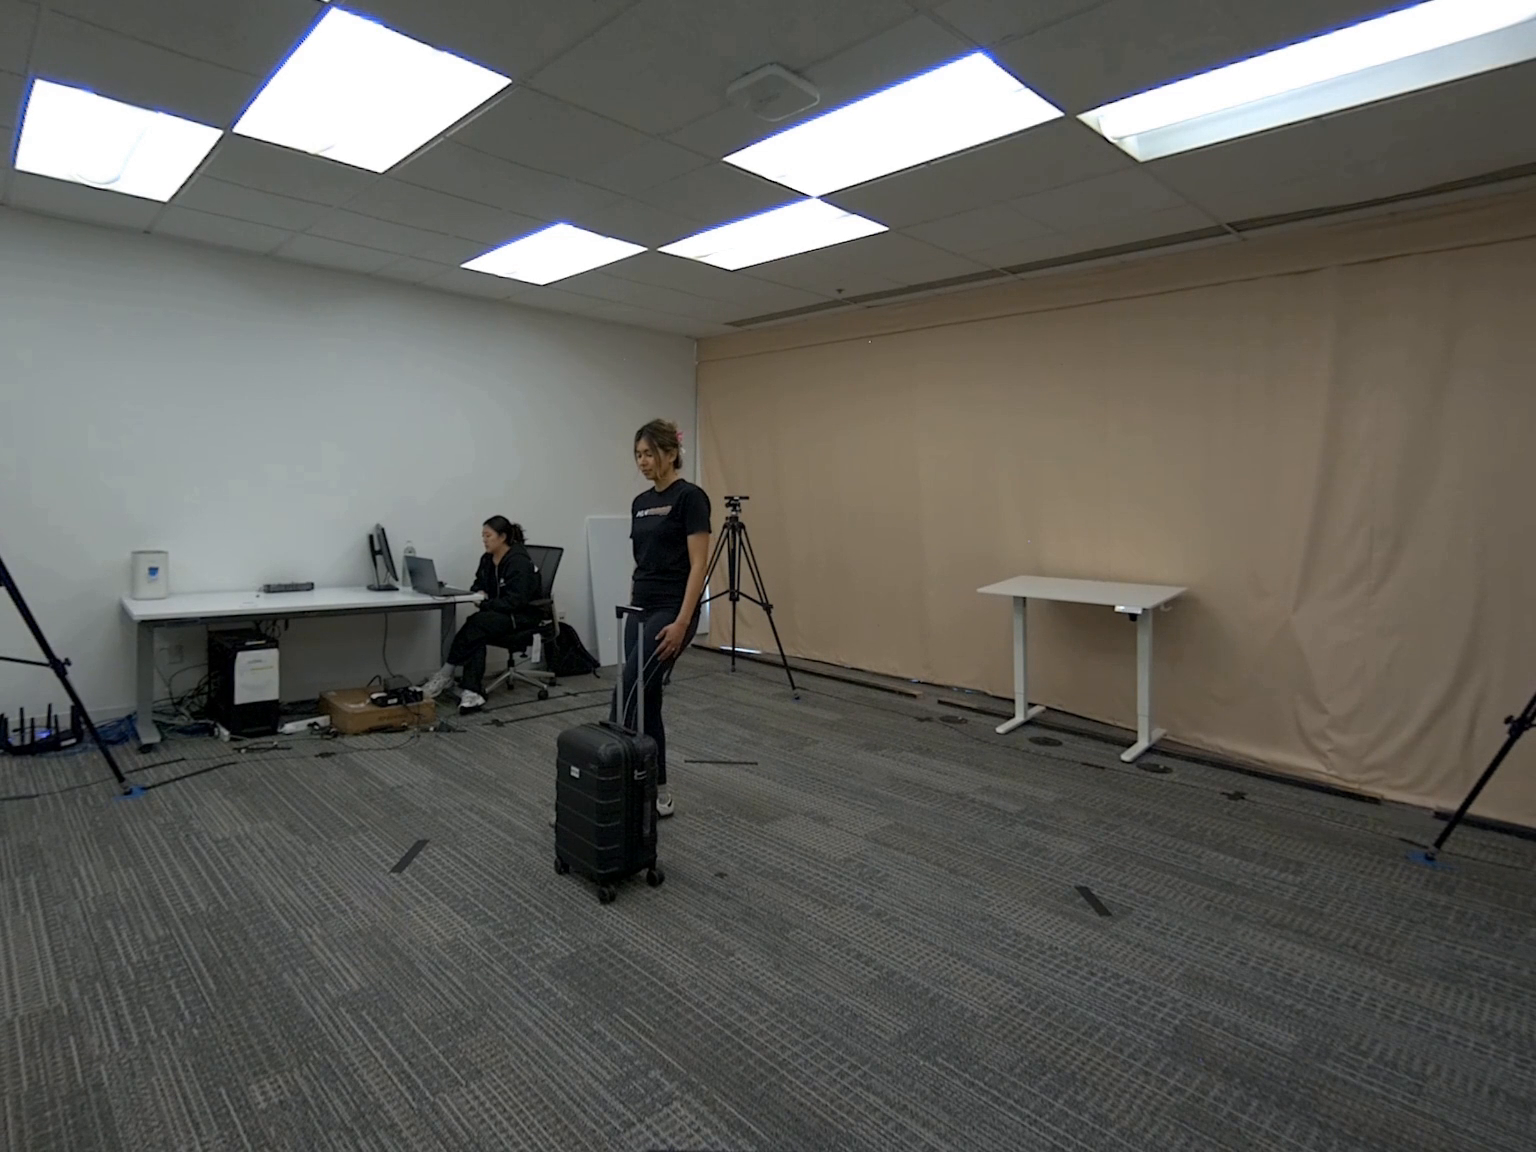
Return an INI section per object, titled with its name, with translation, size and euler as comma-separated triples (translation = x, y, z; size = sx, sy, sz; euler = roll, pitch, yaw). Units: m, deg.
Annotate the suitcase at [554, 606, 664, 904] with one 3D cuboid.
[suitcase]
translation = -0.599, 0.629, 3.033
size = 0.251, 0.976, 0.393
euler = -5, 5, -42
